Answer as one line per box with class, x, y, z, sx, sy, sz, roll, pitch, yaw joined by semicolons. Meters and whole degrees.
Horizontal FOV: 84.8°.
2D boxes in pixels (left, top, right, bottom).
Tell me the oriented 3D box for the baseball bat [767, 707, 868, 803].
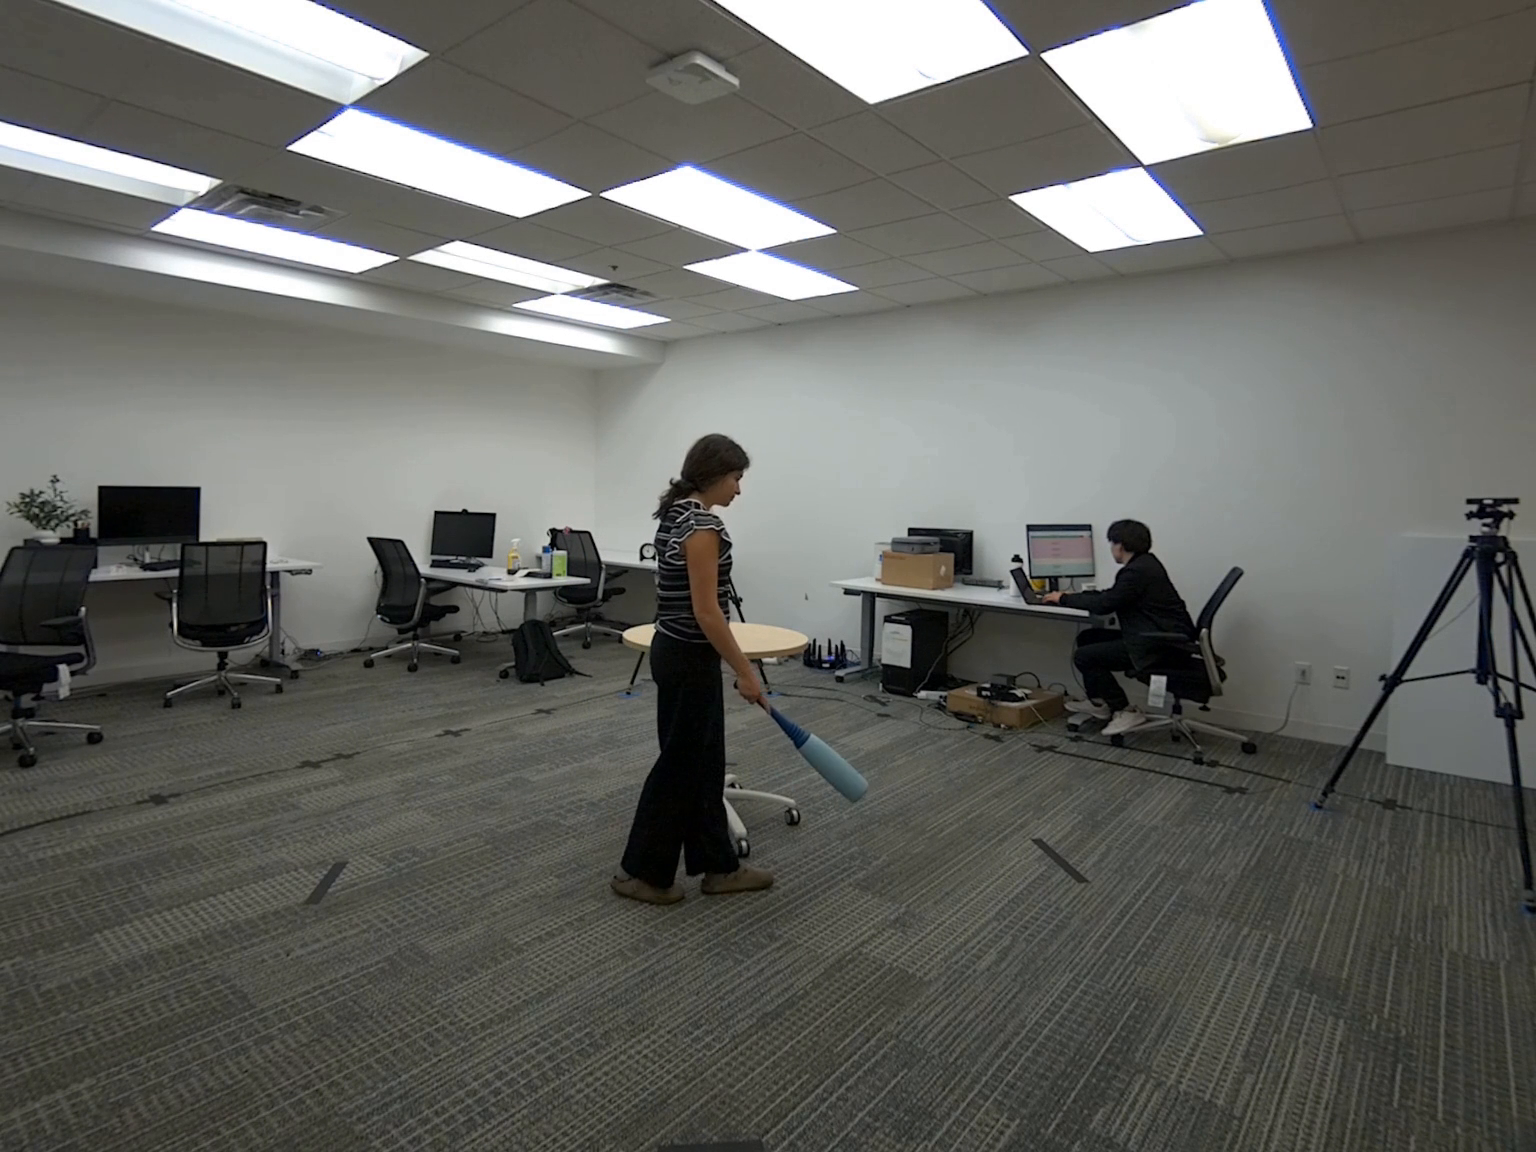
baseball bat;0.091;0.521;2.734;0.544;0.089;0.089;43;5;2
